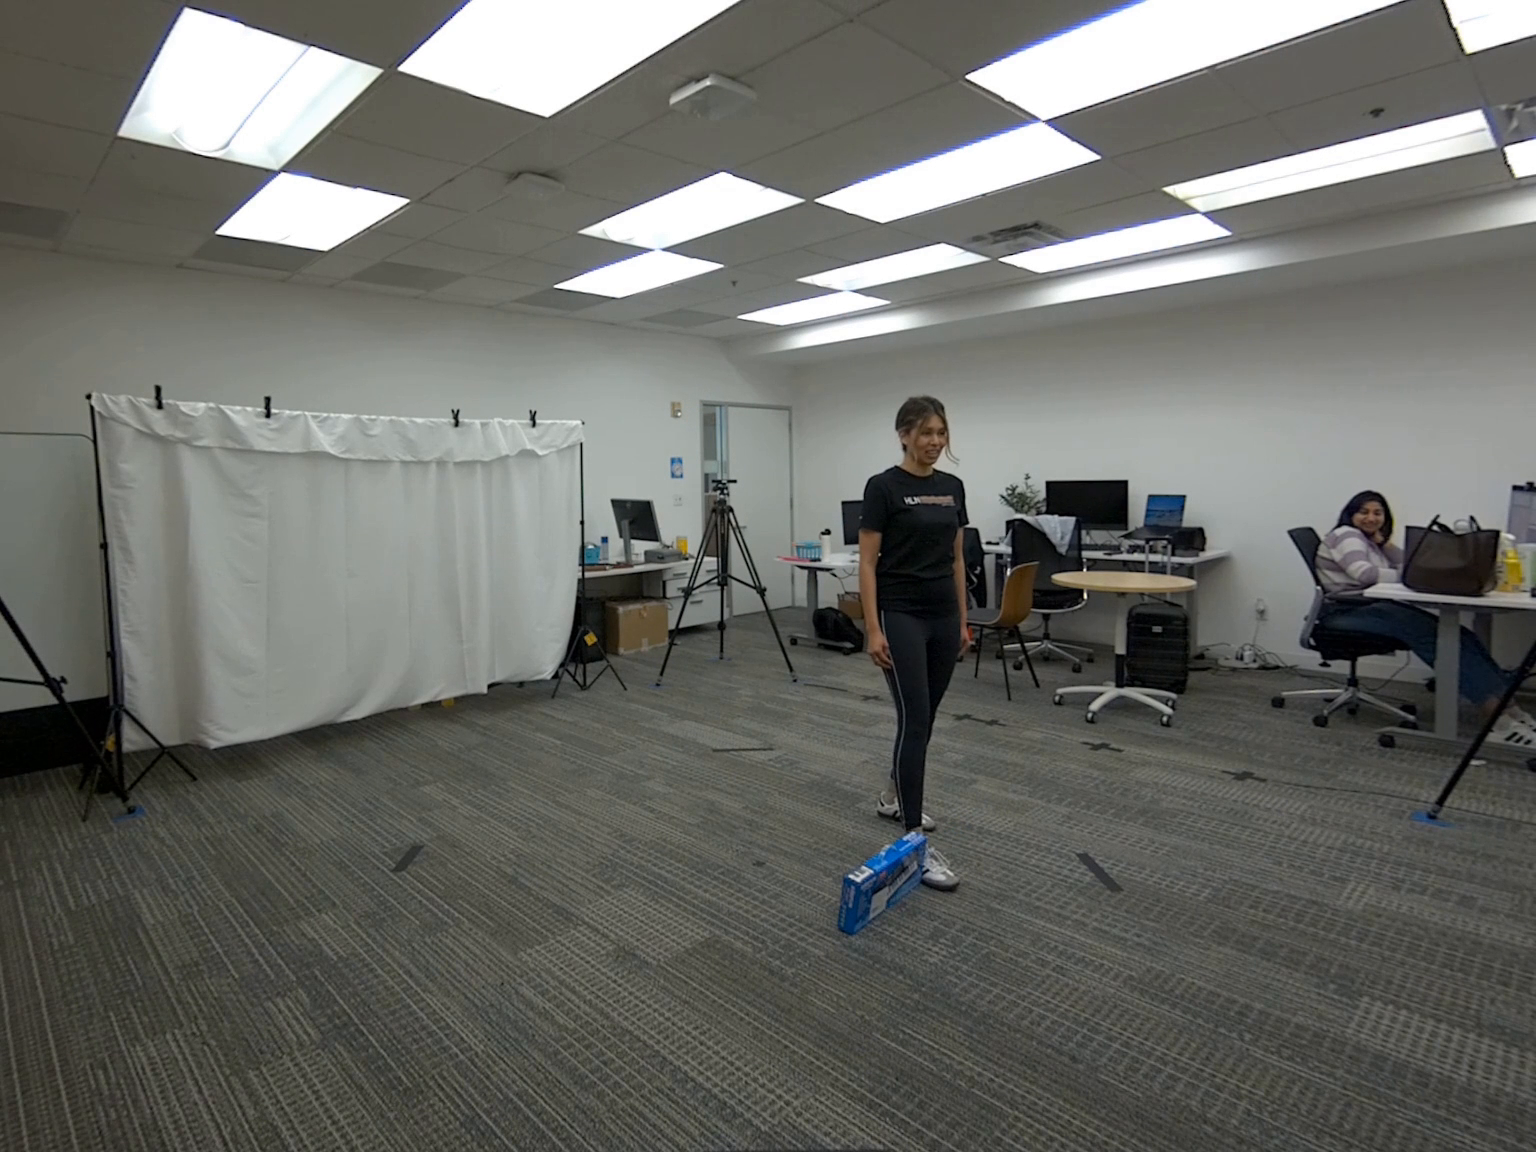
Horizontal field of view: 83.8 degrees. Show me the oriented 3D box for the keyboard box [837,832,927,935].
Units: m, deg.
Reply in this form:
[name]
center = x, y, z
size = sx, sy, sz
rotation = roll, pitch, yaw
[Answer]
[keyboard box]
center = 0.382, 0.992, 2.775
size = 0.061, 0.174, 0.426
rotation = 12, 13, 37
